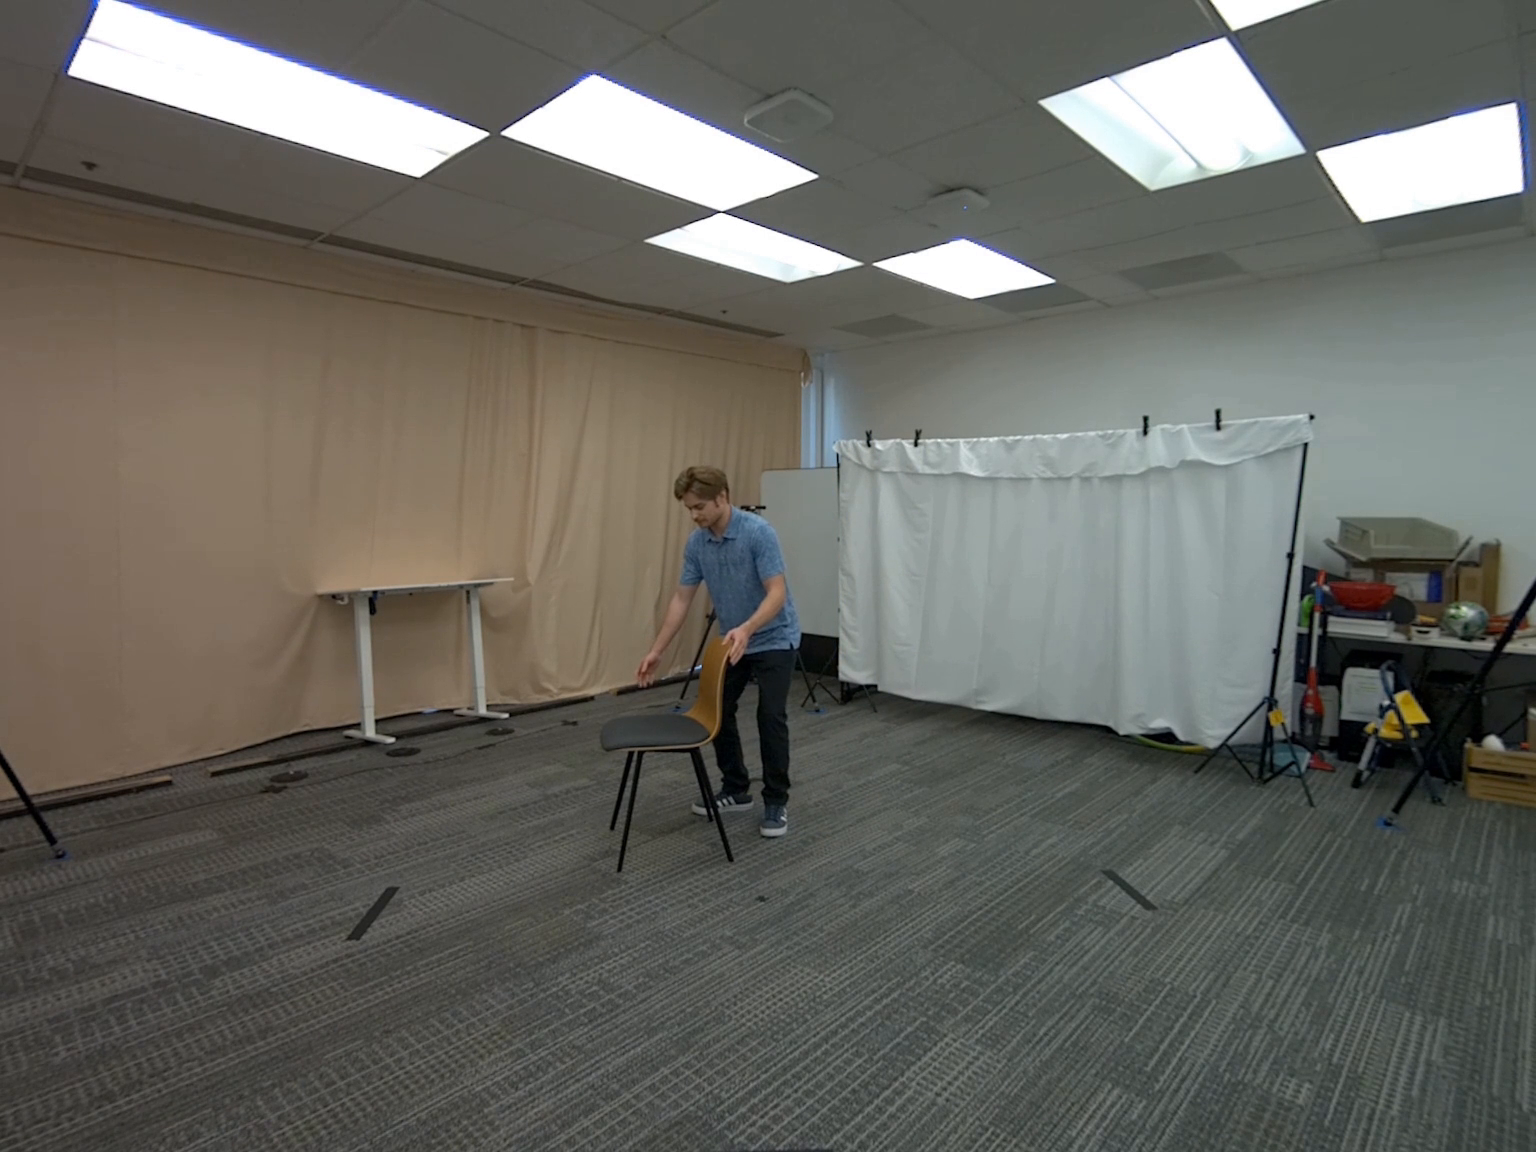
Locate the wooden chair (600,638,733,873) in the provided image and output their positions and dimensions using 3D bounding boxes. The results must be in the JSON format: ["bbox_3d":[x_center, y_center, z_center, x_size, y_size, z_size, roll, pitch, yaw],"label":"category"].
[{"bbox_3d":[-0.421,0.679,3.429,0.516,0.876,0.486,3,3,-13],"label":"wooden chair"}]
